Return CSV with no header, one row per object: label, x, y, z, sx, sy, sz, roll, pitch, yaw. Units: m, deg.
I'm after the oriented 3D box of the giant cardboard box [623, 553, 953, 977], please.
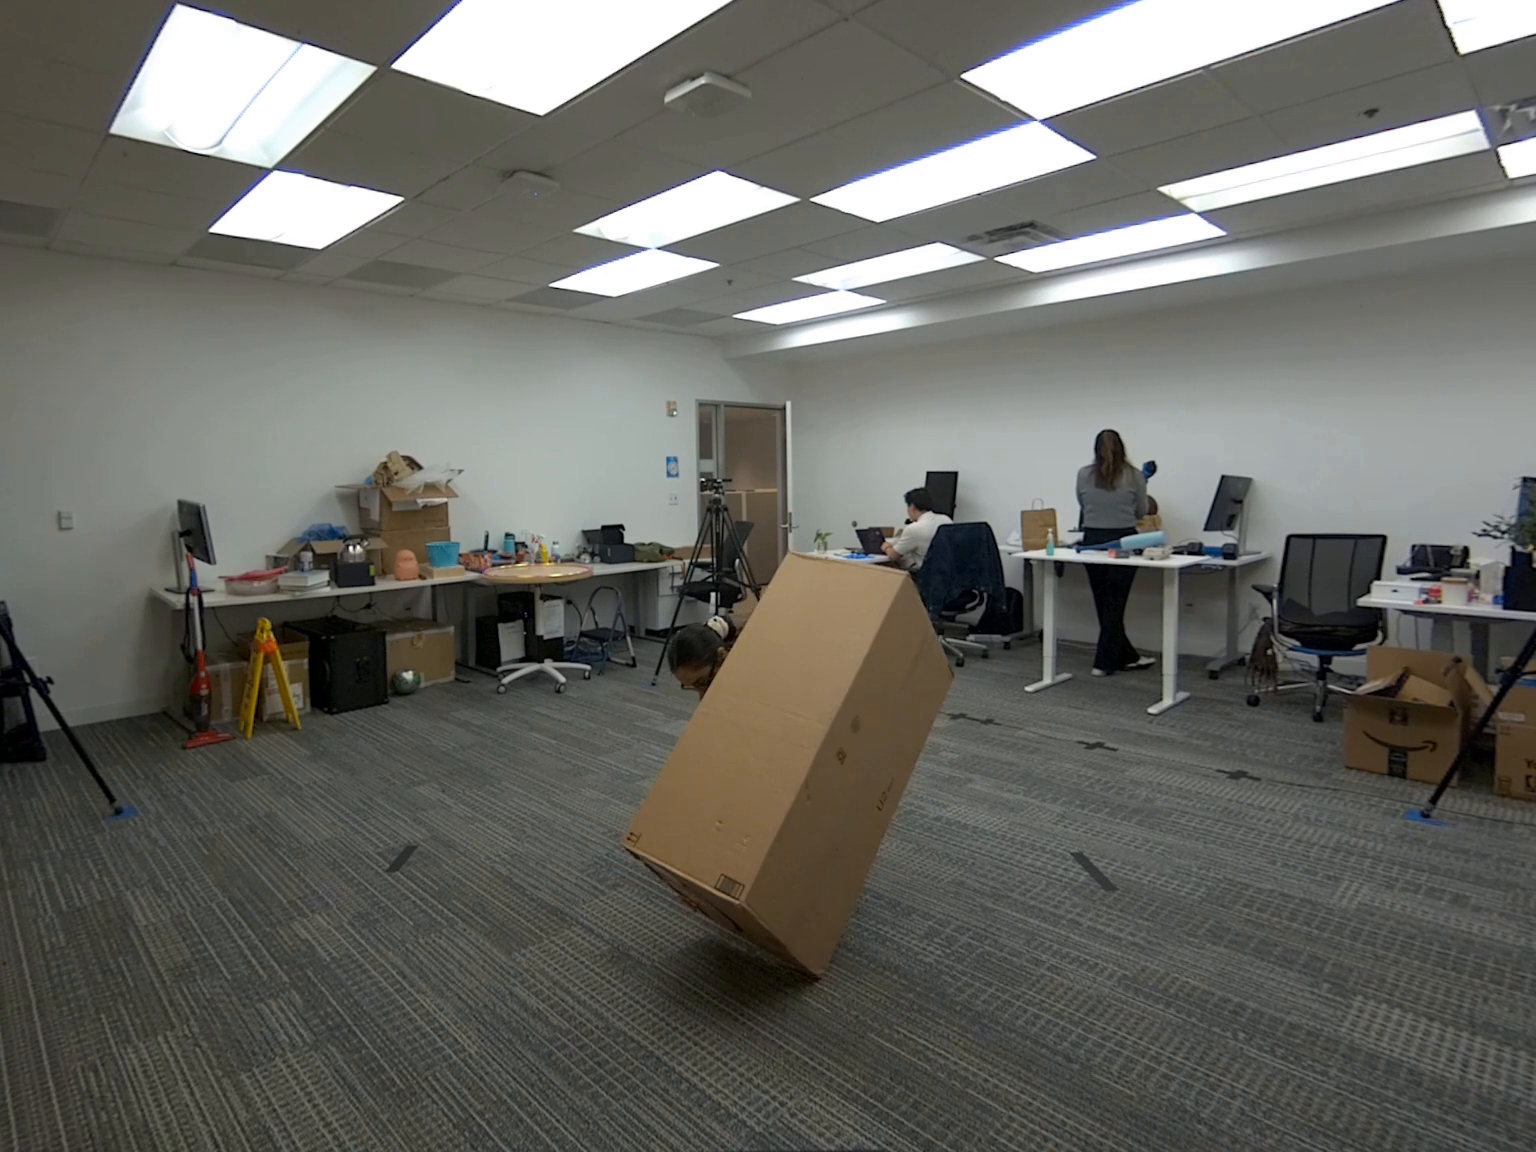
giant cardboard box,0.104,0.522,2.554,0.440,1.032,0.556,10,-33,37
